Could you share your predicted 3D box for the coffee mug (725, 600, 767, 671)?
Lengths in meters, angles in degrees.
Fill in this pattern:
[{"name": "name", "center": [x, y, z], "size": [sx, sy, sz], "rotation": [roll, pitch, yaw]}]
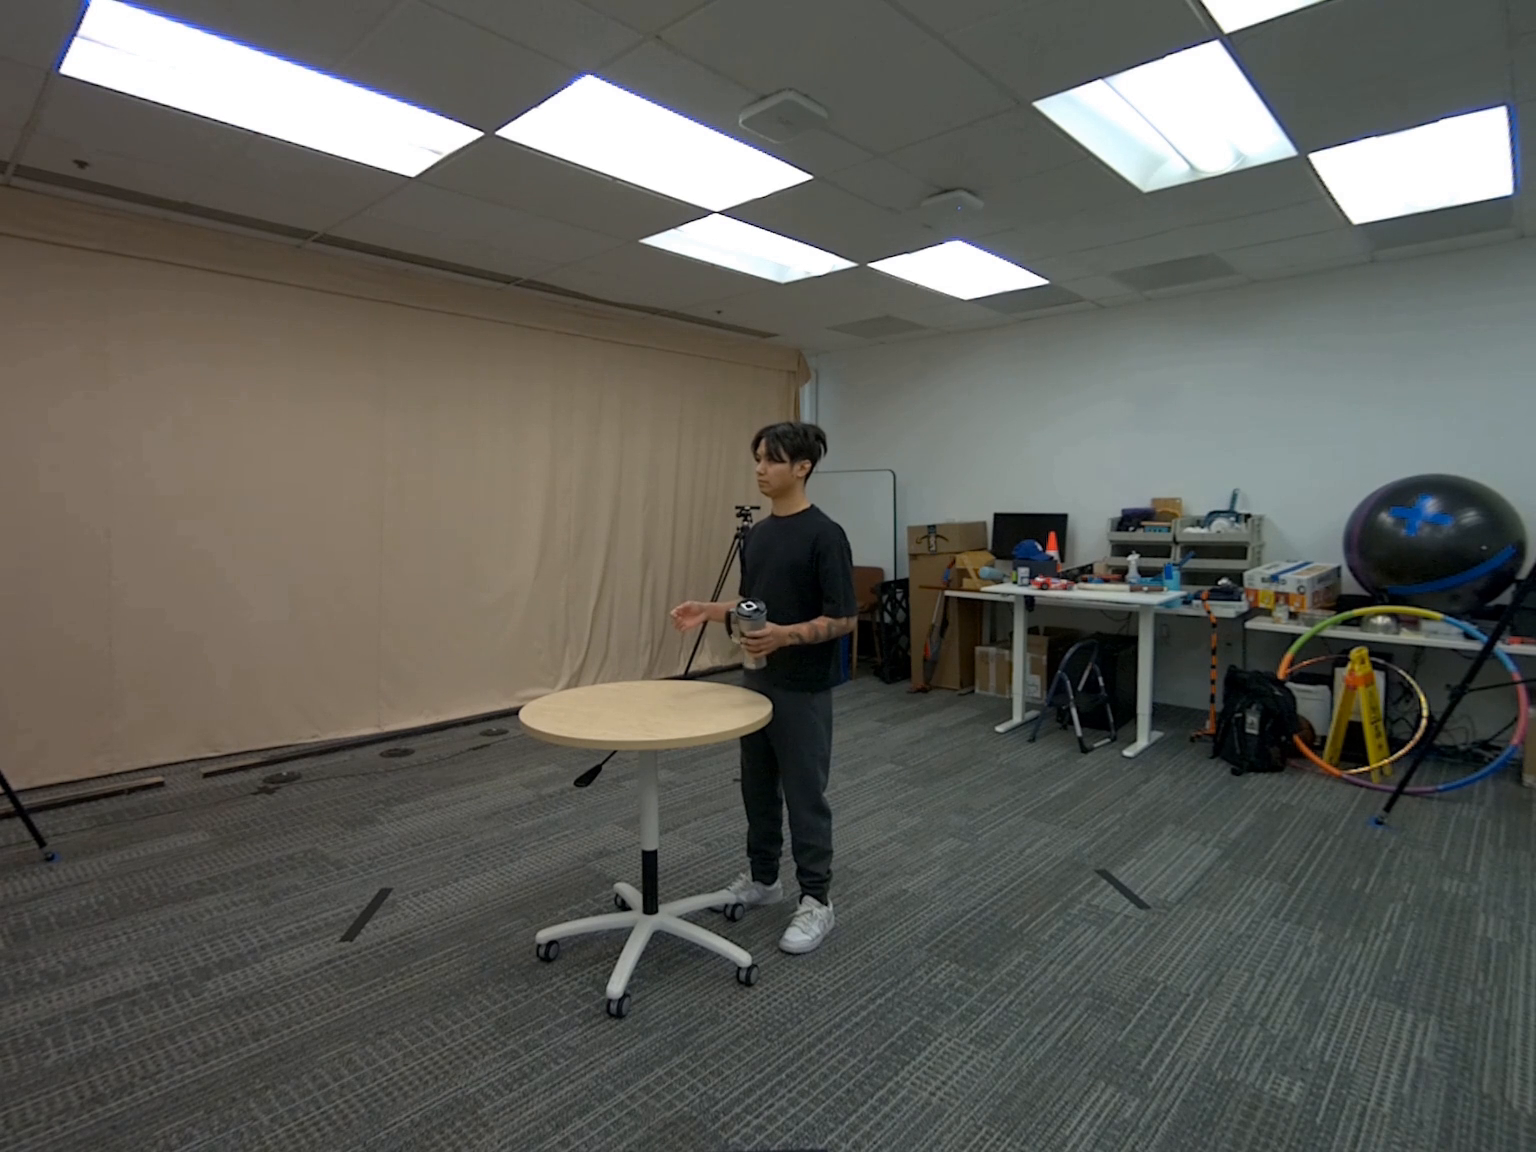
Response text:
[{"name": "coffee mug", "center": [-0.054, 0.168, 2.493], "size": [0.126, 0.199, 0.086], "rotation": [20, 36, 37]}]
